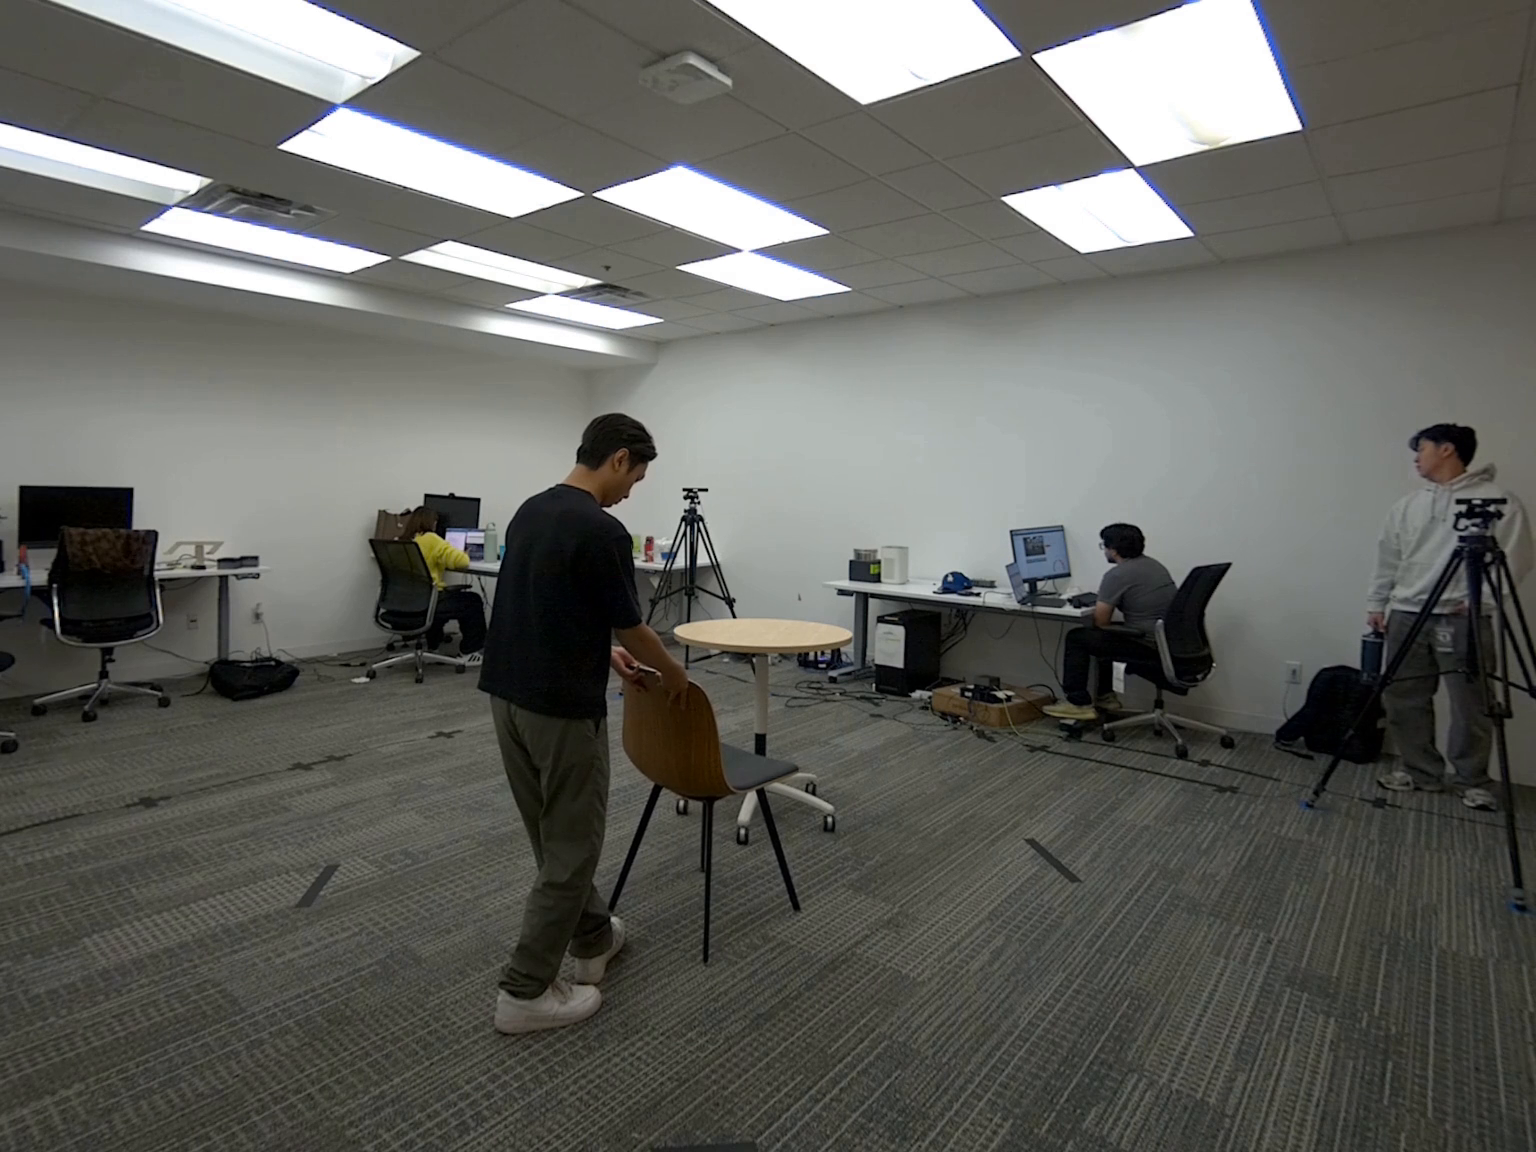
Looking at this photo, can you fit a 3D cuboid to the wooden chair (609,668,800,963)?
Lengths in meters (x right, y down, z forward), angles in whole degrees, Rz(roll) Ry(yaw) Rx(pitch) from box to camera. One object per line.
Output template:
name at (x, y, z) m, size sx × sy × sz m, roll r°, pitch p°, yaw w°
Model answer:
wooden chair at (-0.202, 0.672, 2.784) m, size 0.494 × 0.872 × 0.509 m, roll 3°, pitch 8°, yaw 41°
